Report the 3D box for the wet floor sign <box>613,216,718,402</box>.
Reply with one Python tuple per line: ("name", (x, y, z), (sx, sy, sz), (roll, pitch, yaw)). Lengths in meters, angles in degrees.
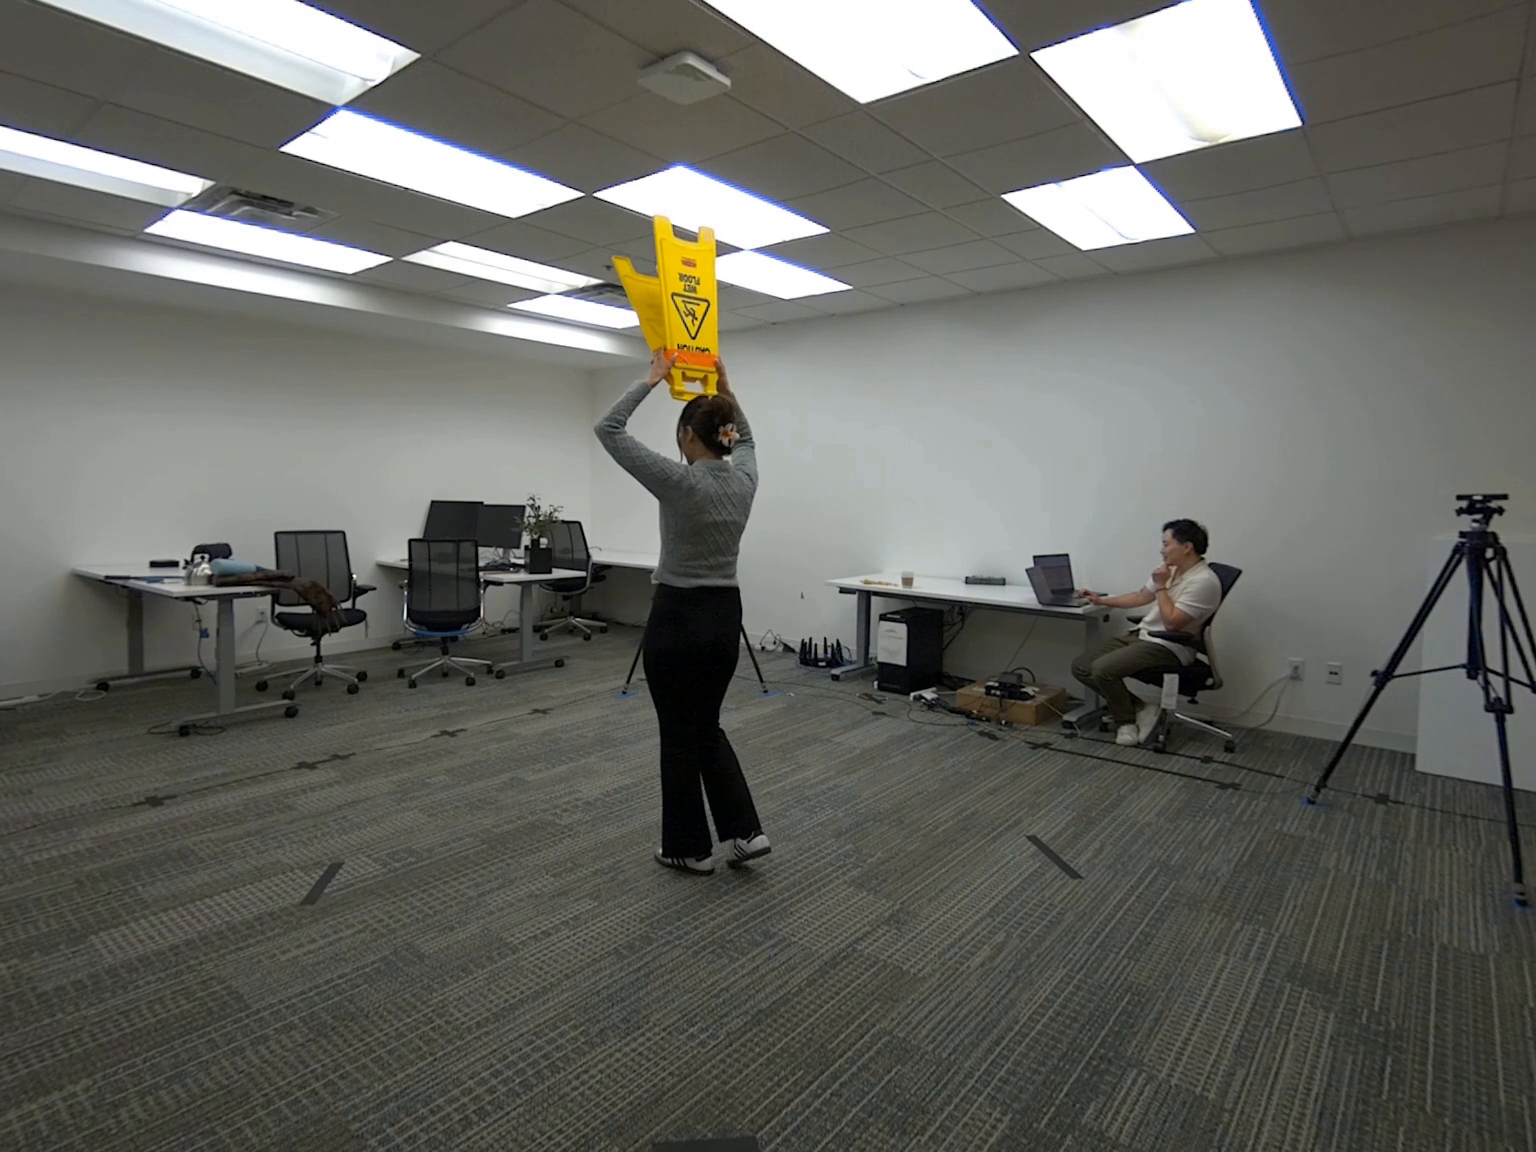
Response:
("wet floor sign", (-0.334, -0.941, 3.112), (0.274, 0.656, 0.294), (-3, -16, -40))
